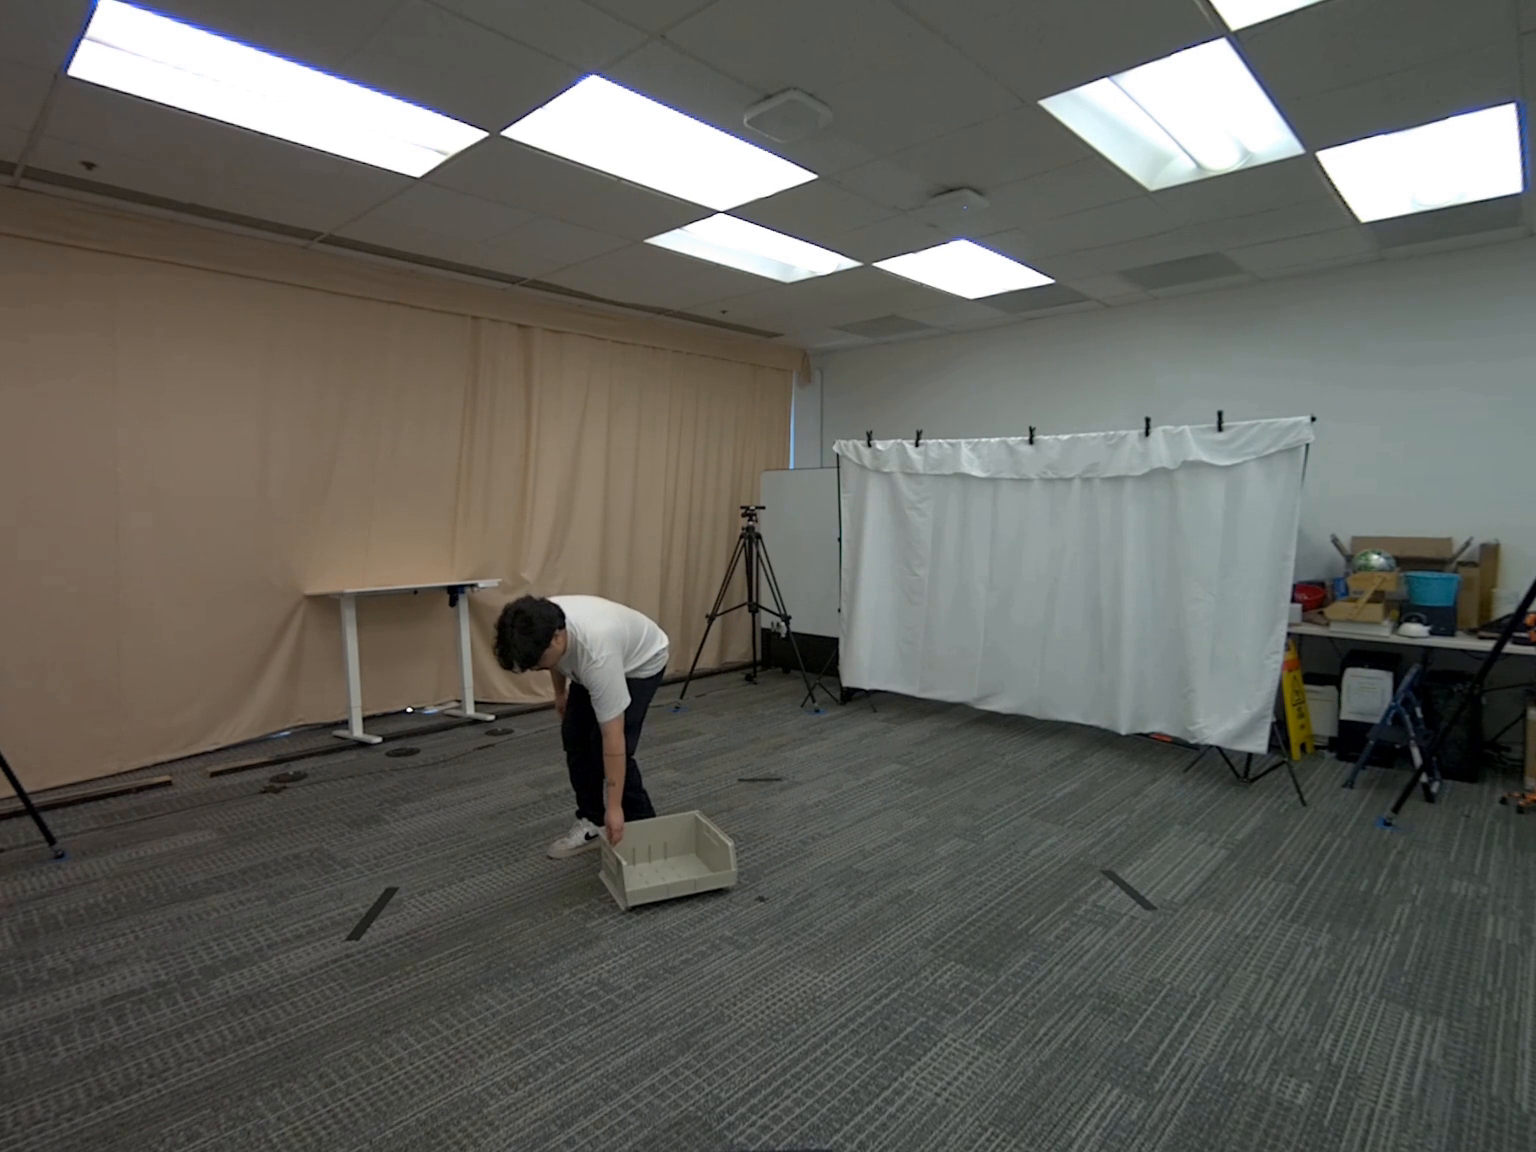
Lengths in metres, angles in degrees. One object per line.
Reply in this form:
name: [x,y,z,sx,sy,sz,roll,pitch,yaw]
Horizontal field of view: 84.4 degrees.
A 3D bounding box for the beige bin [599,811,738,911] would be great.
beige bin: [-0.375,1.044,3.101,0.412,0.188,0.387,-3,4,-25]
